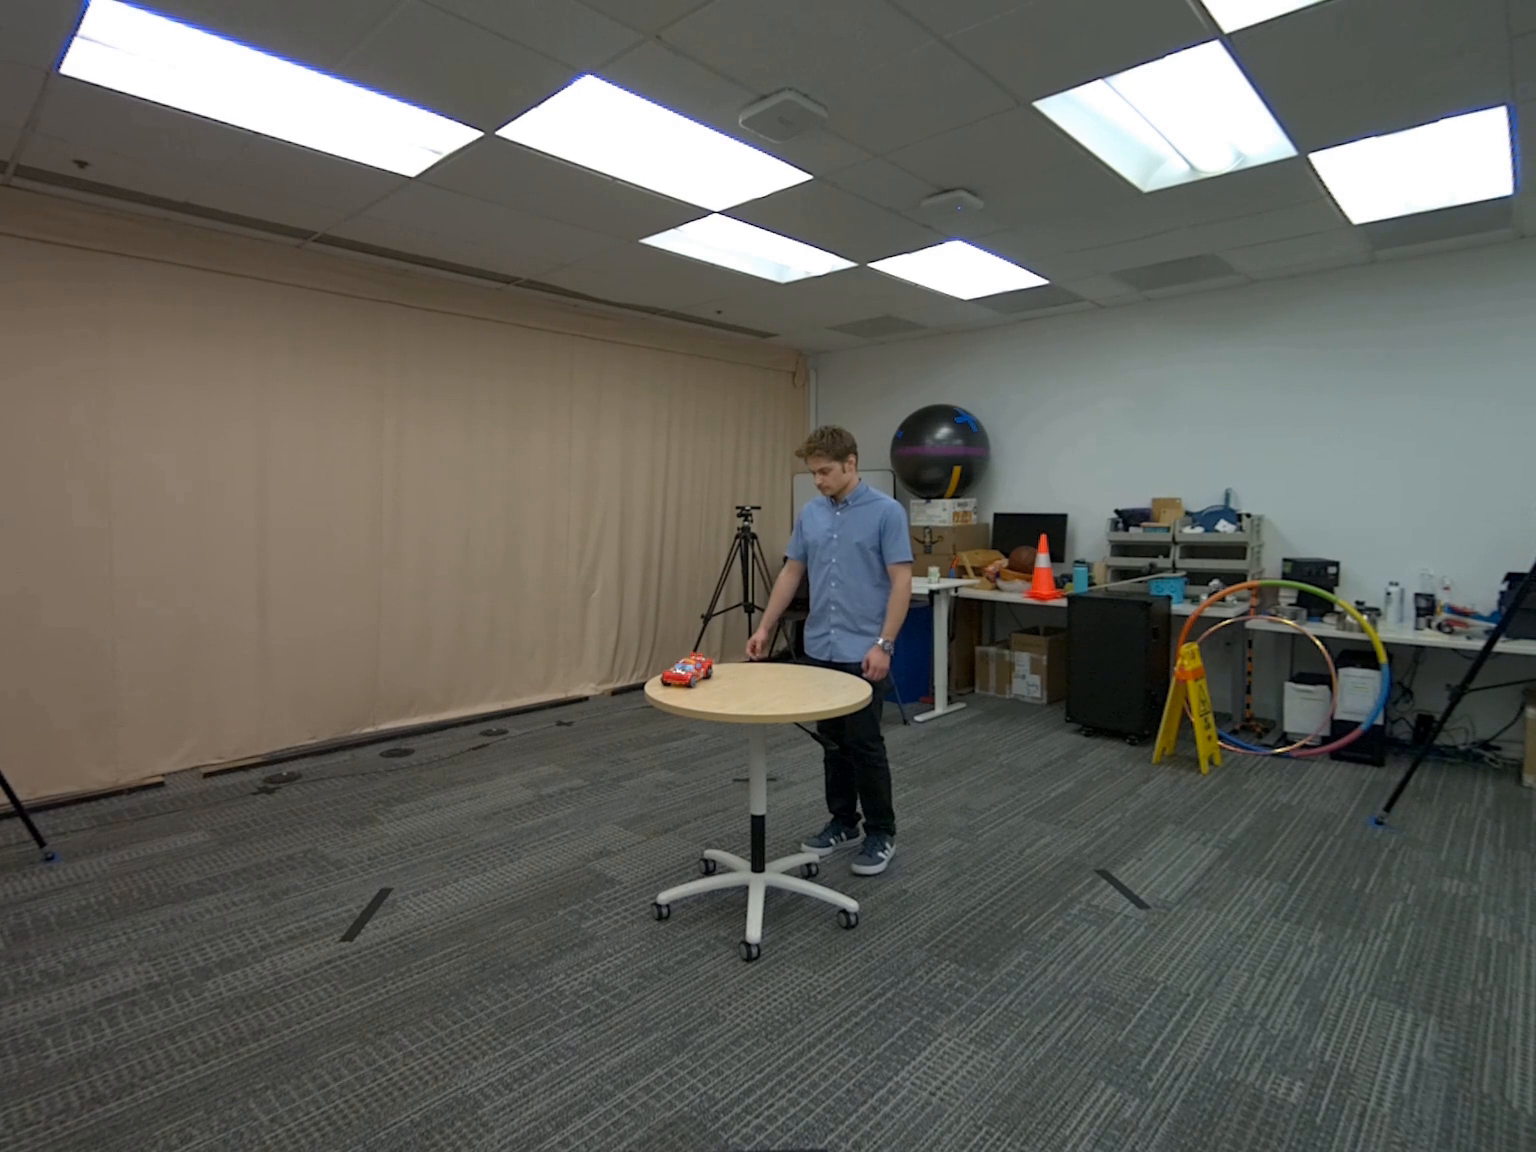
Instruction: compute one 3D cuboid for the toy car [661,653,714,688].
[{"bbox_3d":[-0.268,0.335,2.926,0.133,0.082,0.252,1,16,19],"label":"toy car"}]
